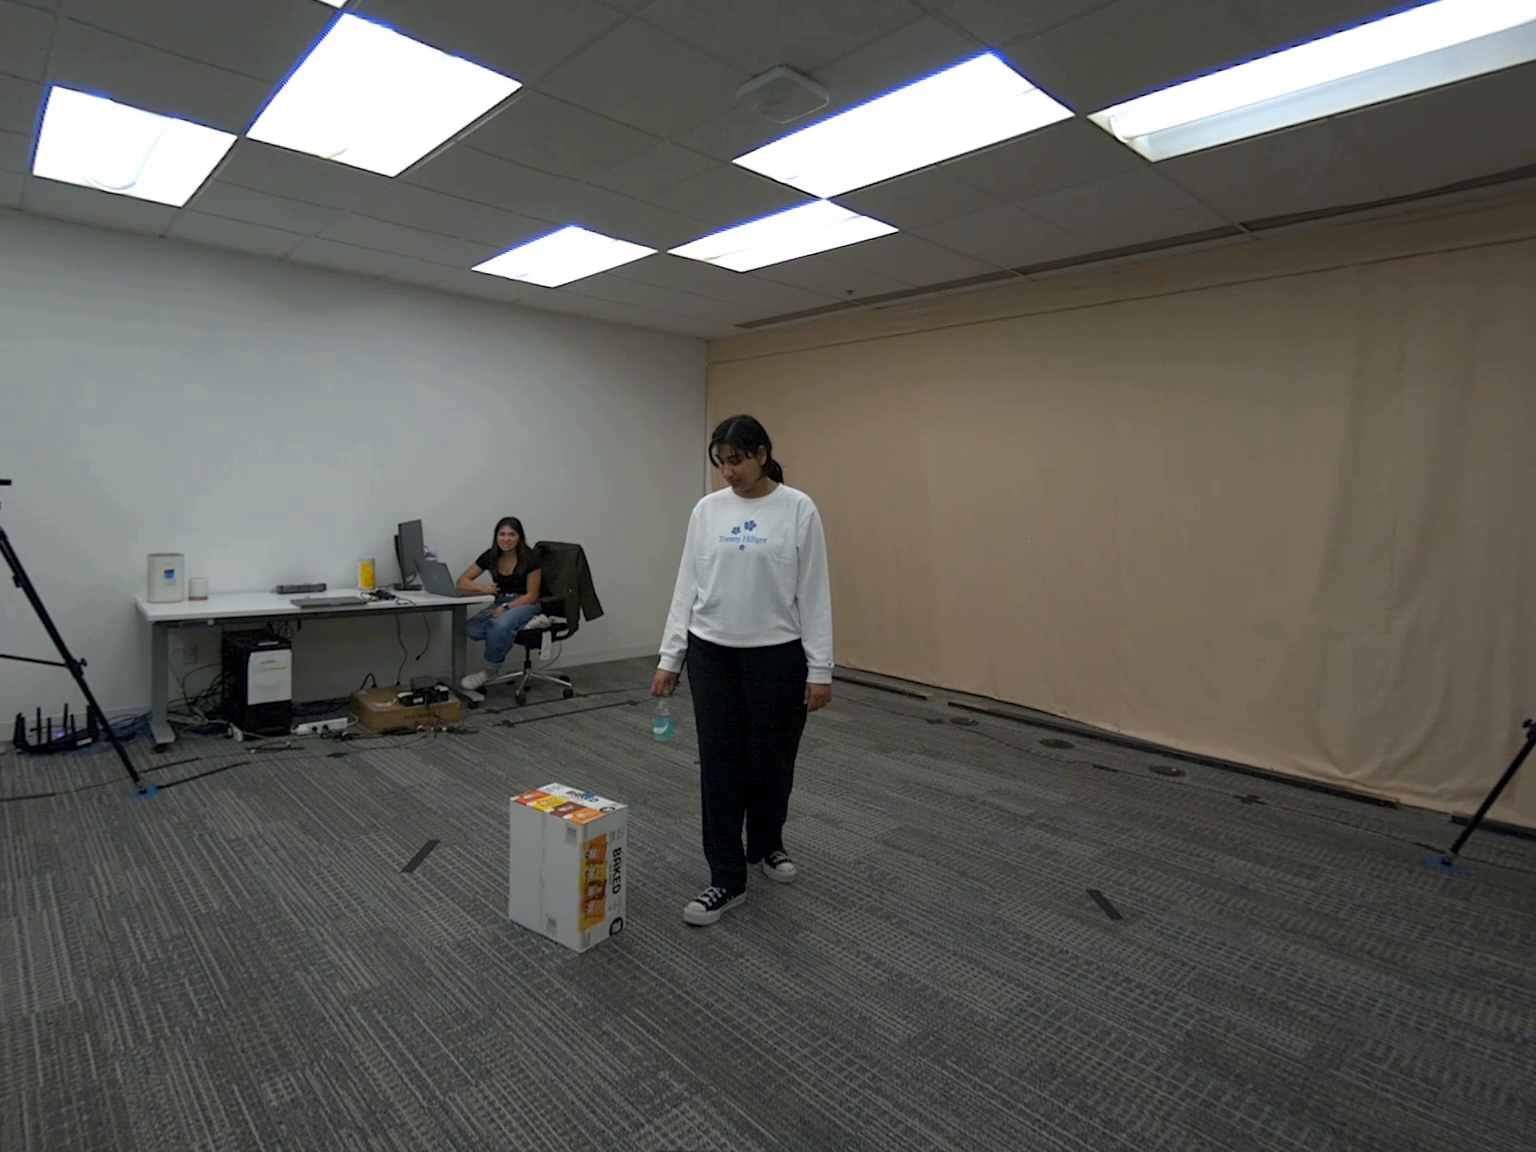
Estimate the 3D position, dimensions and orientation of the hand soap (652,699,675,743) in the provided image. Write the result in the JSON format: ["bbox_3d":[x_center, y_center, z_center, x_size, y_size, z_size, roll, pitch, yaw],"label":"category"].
[{"bbox_3d":[-0.363,0.484,2.913,0.086,0.168,0.043,4,-3,17],"label":"hand soap"}]
